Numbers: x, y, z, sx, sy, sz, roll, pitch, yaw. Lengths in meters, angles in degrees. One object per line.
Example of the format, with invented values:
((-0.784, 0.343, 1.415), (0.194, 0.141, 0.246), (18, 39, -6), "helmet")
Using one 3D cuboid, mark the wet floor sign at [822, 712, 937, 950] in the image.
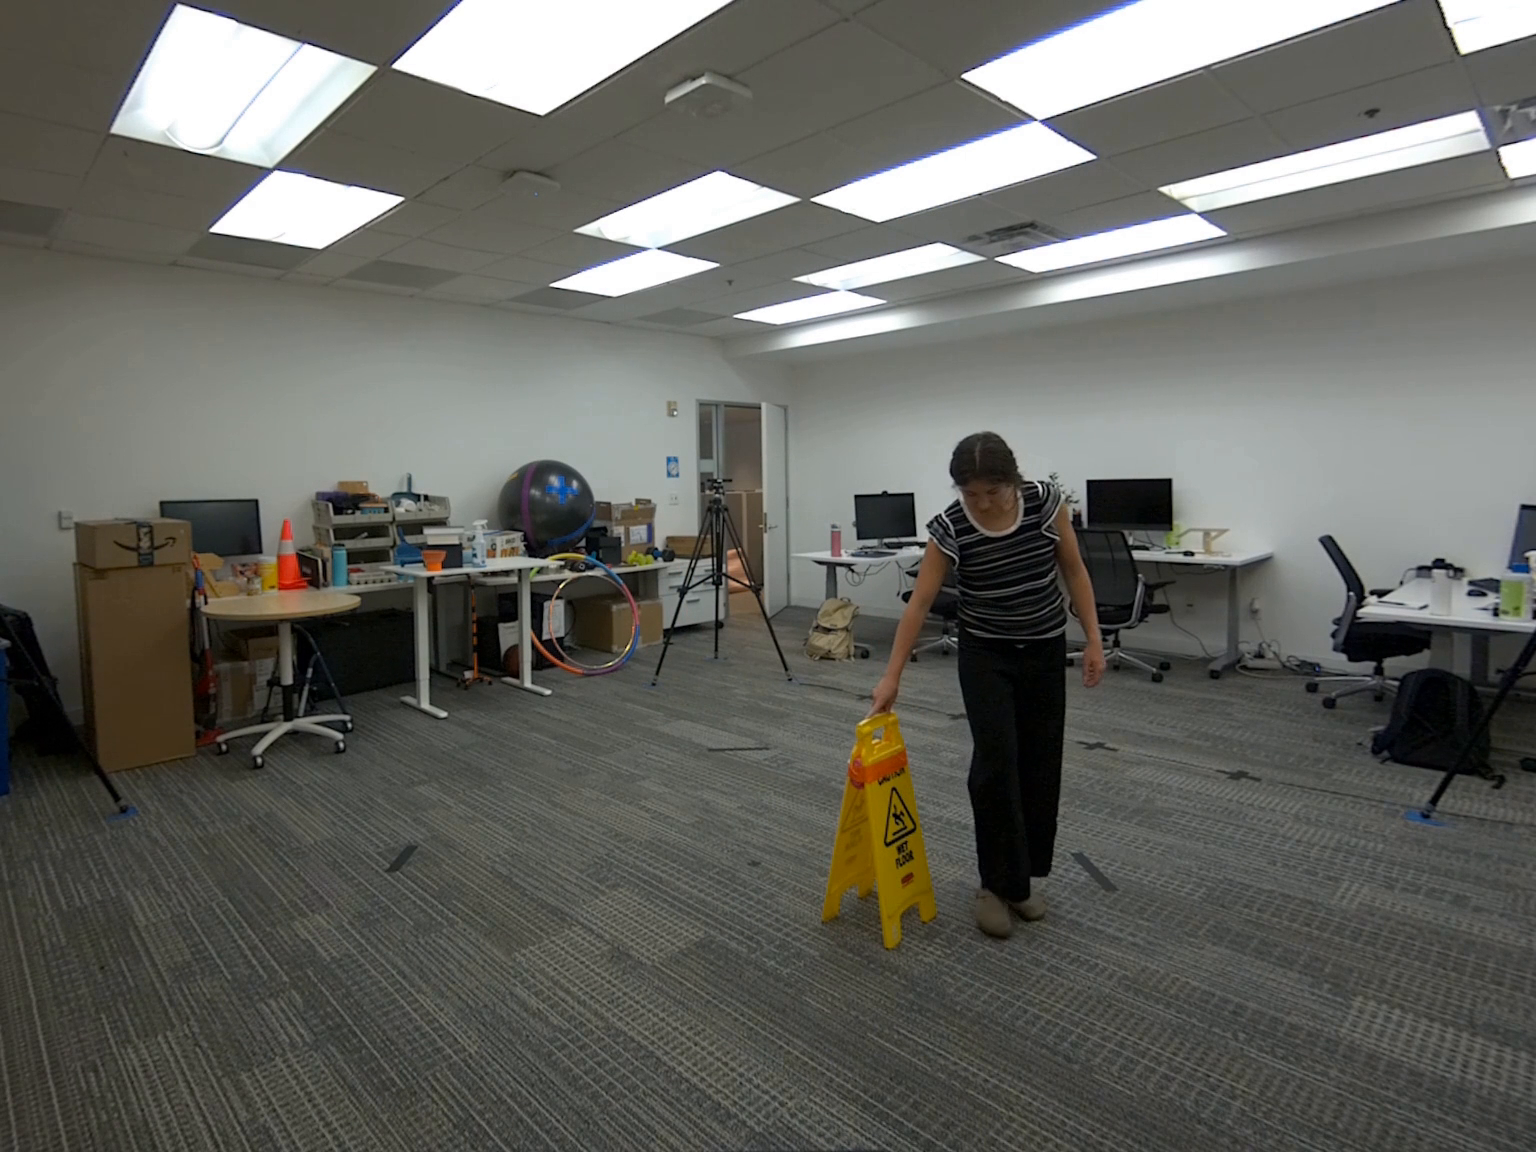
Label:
((0.355, 0.762, 2.677), (0.298, 0.643, 0.275), (4, 7, 41), "wet floor sign")
